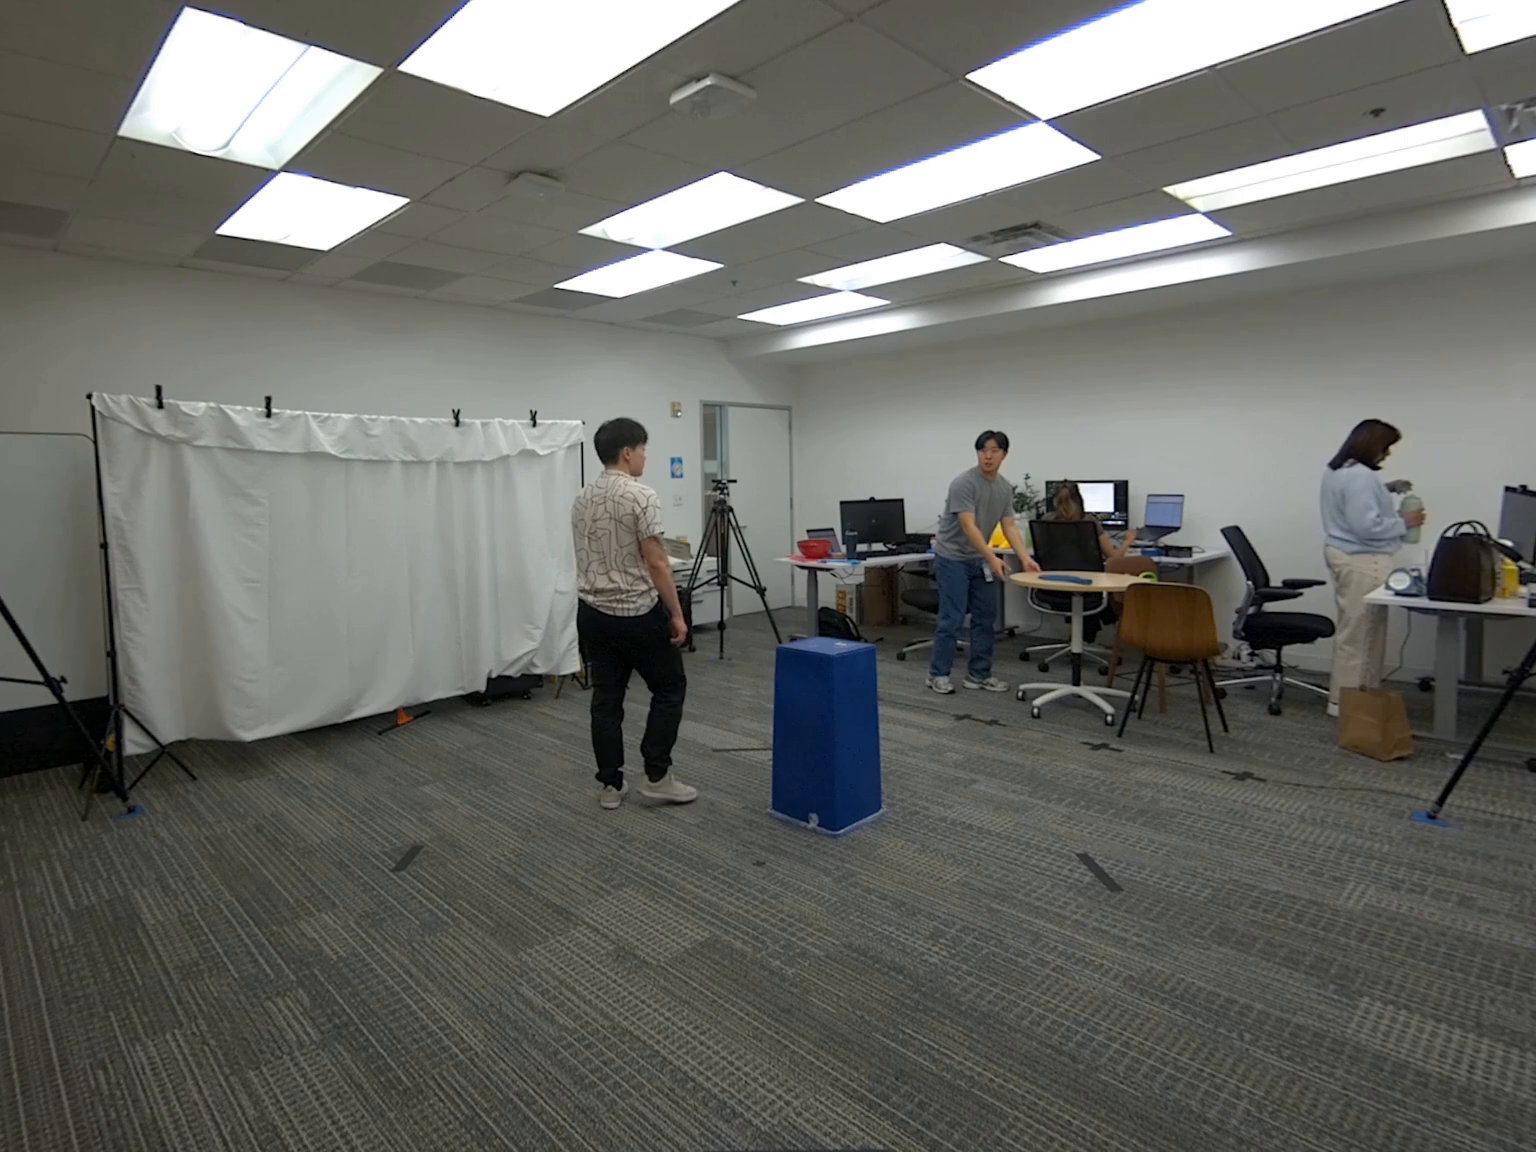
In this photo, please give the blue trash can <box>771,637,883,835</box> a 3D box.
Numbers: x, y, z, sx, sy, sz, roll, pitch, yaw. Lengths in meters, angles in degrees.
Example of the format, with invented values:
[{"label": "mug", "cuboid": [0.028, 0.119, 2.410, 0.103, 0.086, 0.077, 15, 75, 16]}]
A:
[{"label": "blue trash can", "cuboid": [0.252, 0.642, 3.548, 0.390, 0.711, 0.364, 4, 5, 43]}]
